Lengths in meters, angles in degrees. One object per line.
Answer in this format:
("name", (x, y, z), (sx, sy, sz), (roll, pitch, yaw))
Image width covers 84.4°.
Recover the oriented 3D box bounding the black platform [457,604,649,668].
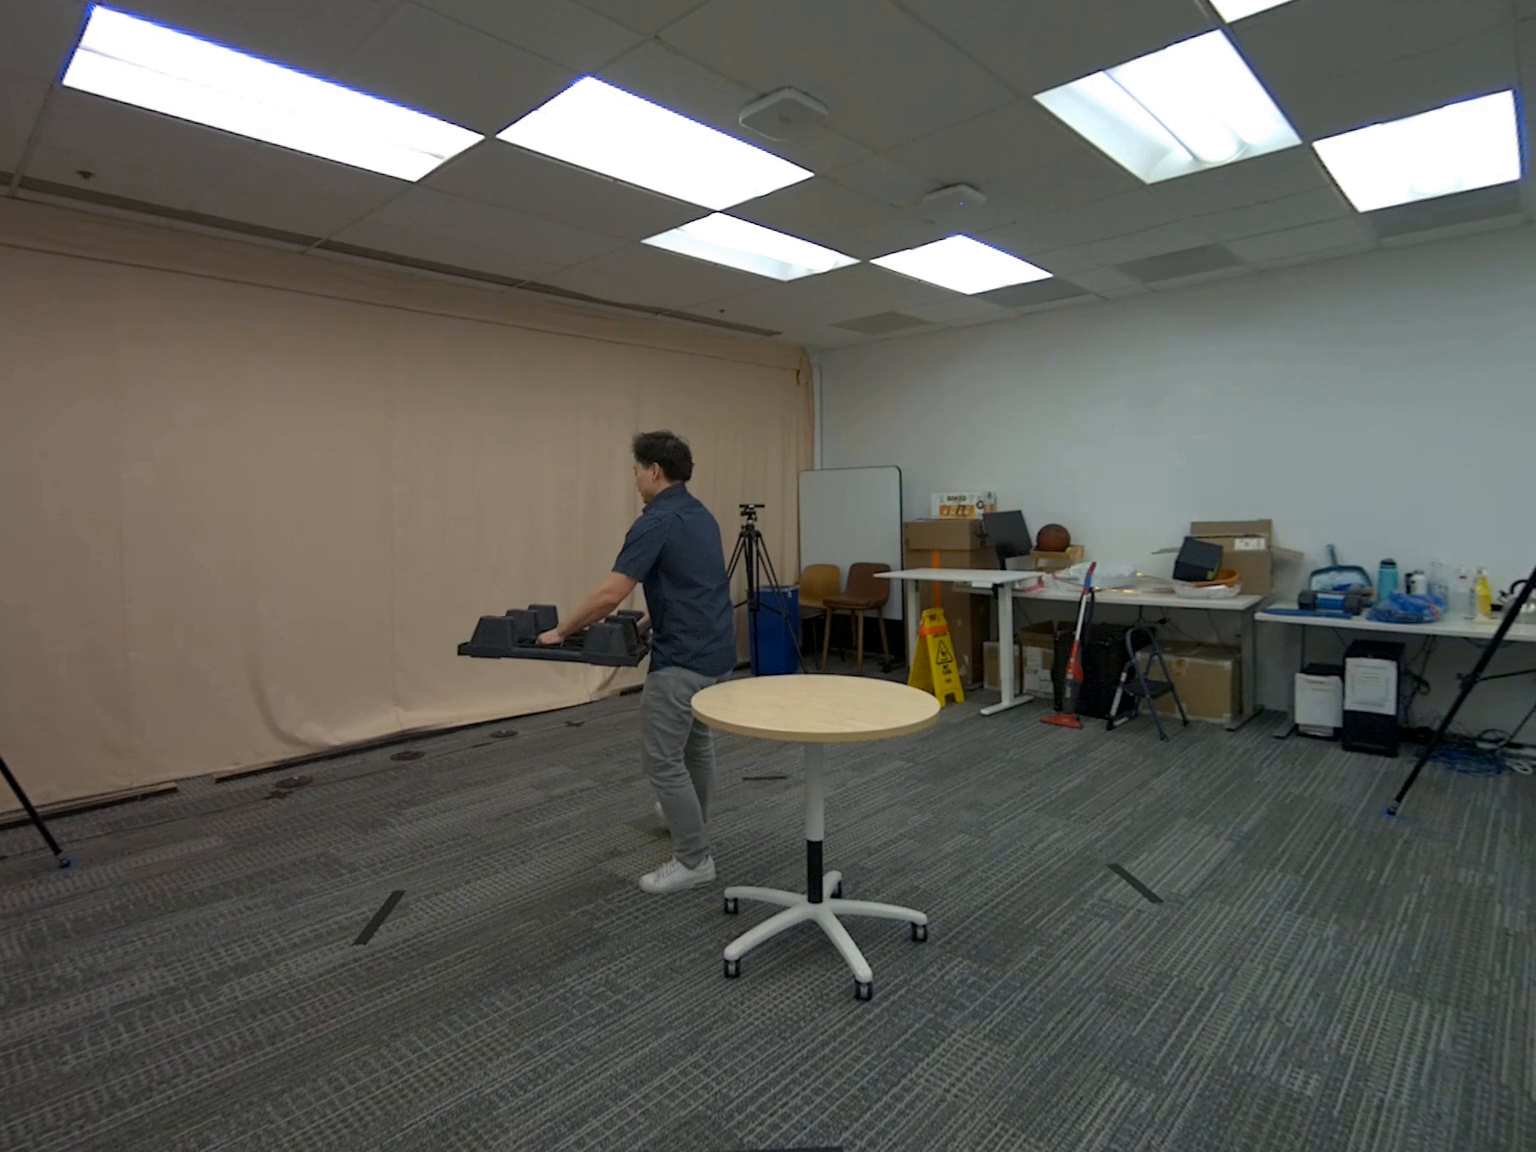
("black platform", (-0.749, 0.212, 3.162), (0.605, 0.143, 0.806), (4, 1, -1))
